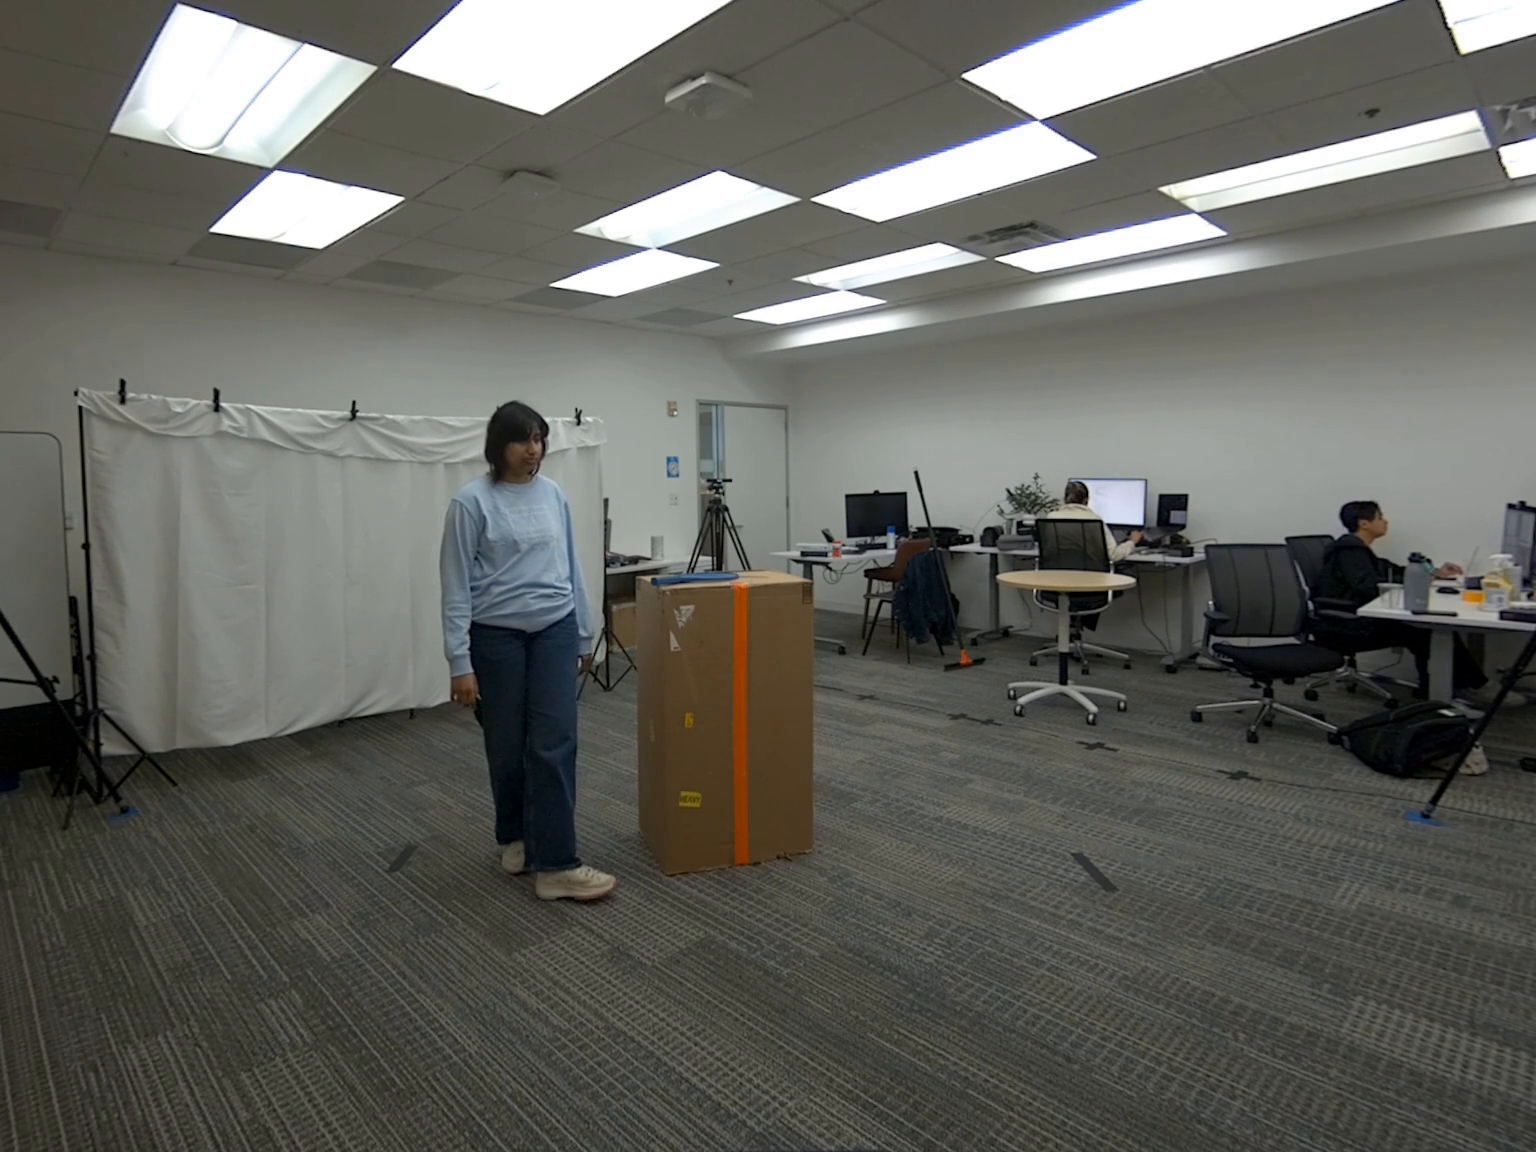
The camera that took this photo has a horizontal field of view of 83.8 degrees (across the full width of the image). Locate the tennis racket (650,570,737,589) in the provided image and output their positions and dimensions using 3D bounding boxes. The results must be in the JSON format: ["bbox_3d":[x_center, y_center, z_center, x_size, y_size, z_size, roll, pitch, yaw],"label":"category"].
[{"bbox_3d":[-0.290,0.008,3.183,0.220,0.031,0.422,4,7,34],"label":"tennis racket"}]
